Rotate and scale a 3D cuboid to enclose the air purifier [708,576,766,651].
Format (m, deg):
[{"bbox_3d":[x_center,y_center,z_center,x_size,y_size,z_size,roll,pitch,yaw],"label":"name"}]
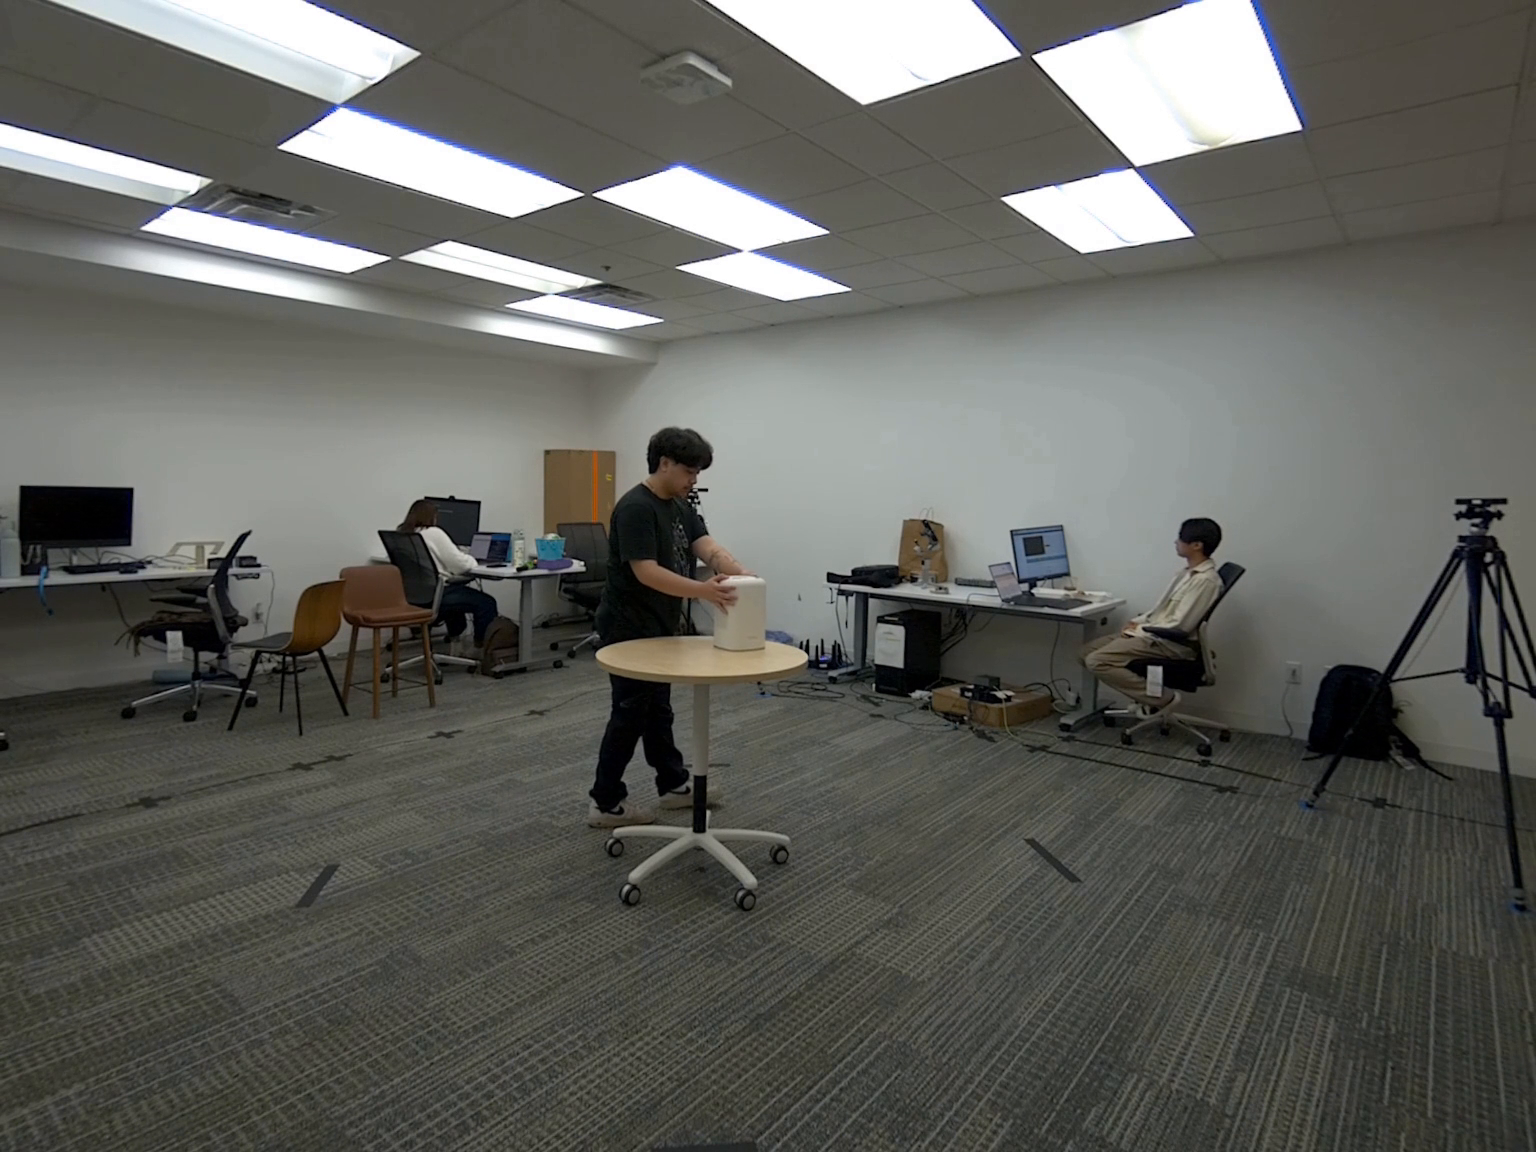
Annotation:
[{"bbox_3d":[-0.120,0.135,3.223,0.166,0.265,0.177,1,2,-30],"label":"air purifier"}]
